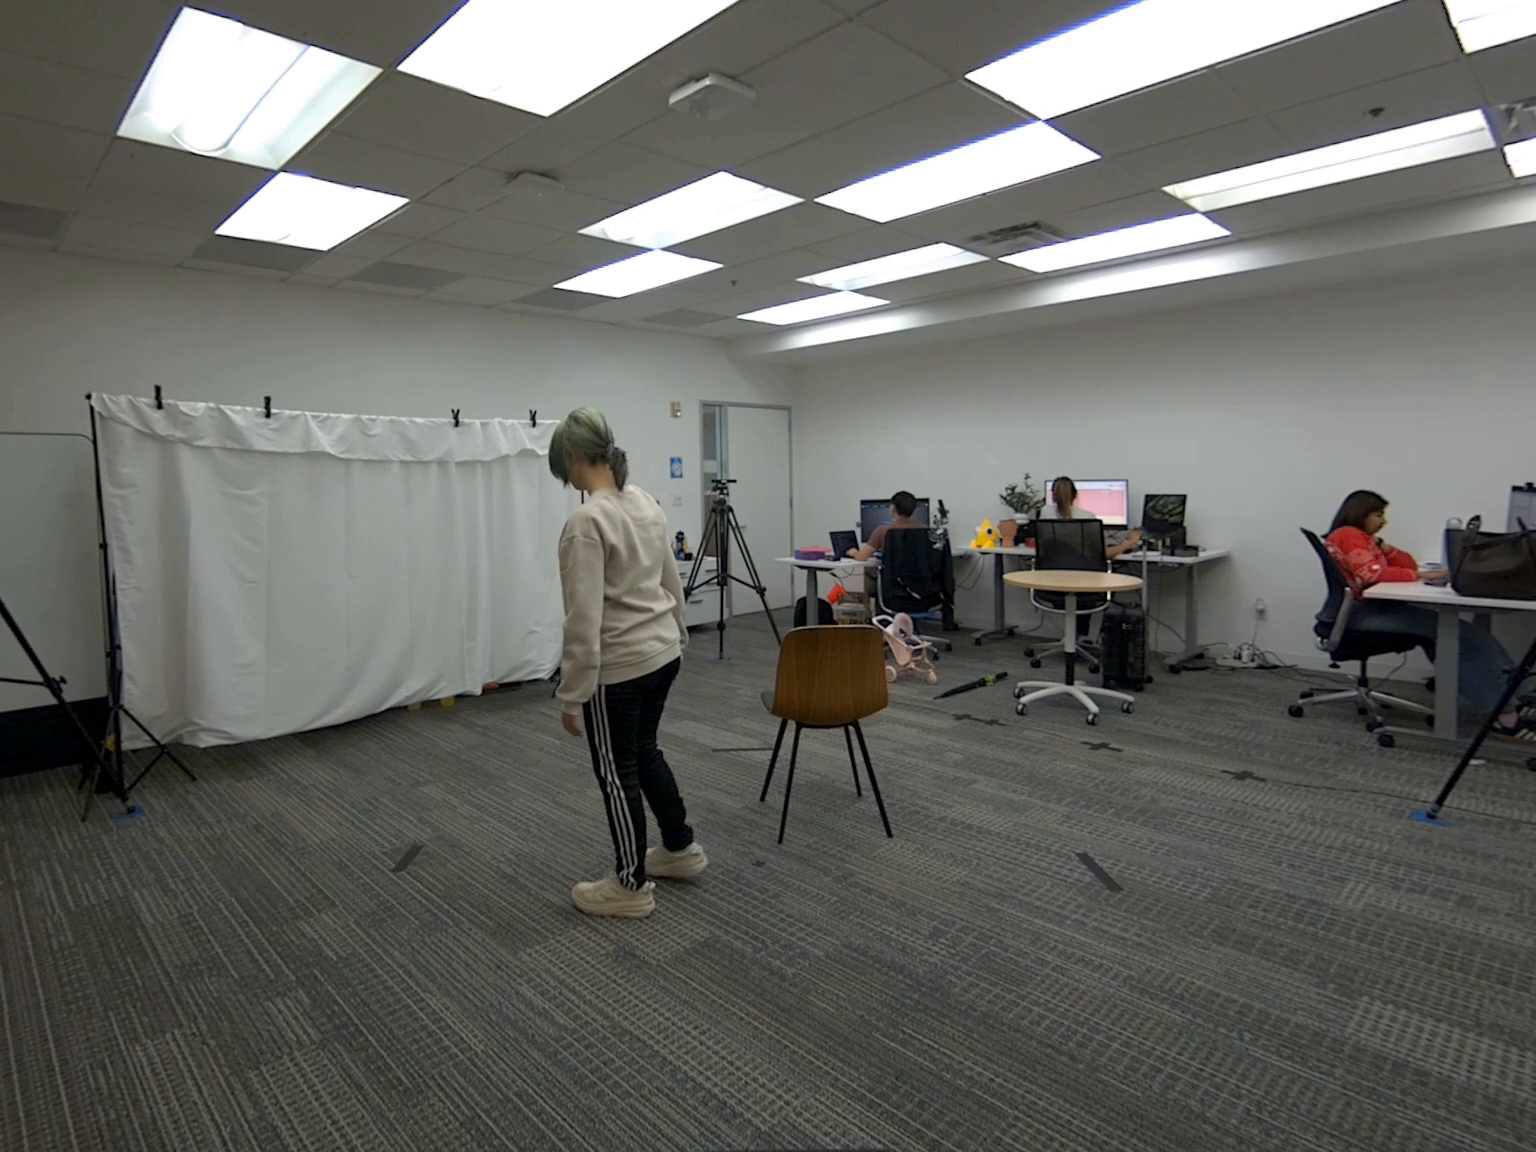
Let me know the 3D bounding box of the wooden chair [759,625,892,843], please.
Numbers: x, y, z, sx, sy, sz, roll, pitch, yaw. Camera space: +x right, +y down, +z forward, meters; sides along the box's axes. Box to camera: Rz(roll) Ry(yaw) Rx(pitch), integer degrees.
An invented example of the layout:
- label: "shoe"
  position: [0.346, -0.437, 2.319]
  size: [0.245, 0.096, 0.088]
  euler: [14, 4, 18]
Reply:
- label: "wooden chair"
  position: [0.211, 0.572, 3.493]
  size: [0.474, 0.871, 0.531]
  euler: [-2, 8, -9]
